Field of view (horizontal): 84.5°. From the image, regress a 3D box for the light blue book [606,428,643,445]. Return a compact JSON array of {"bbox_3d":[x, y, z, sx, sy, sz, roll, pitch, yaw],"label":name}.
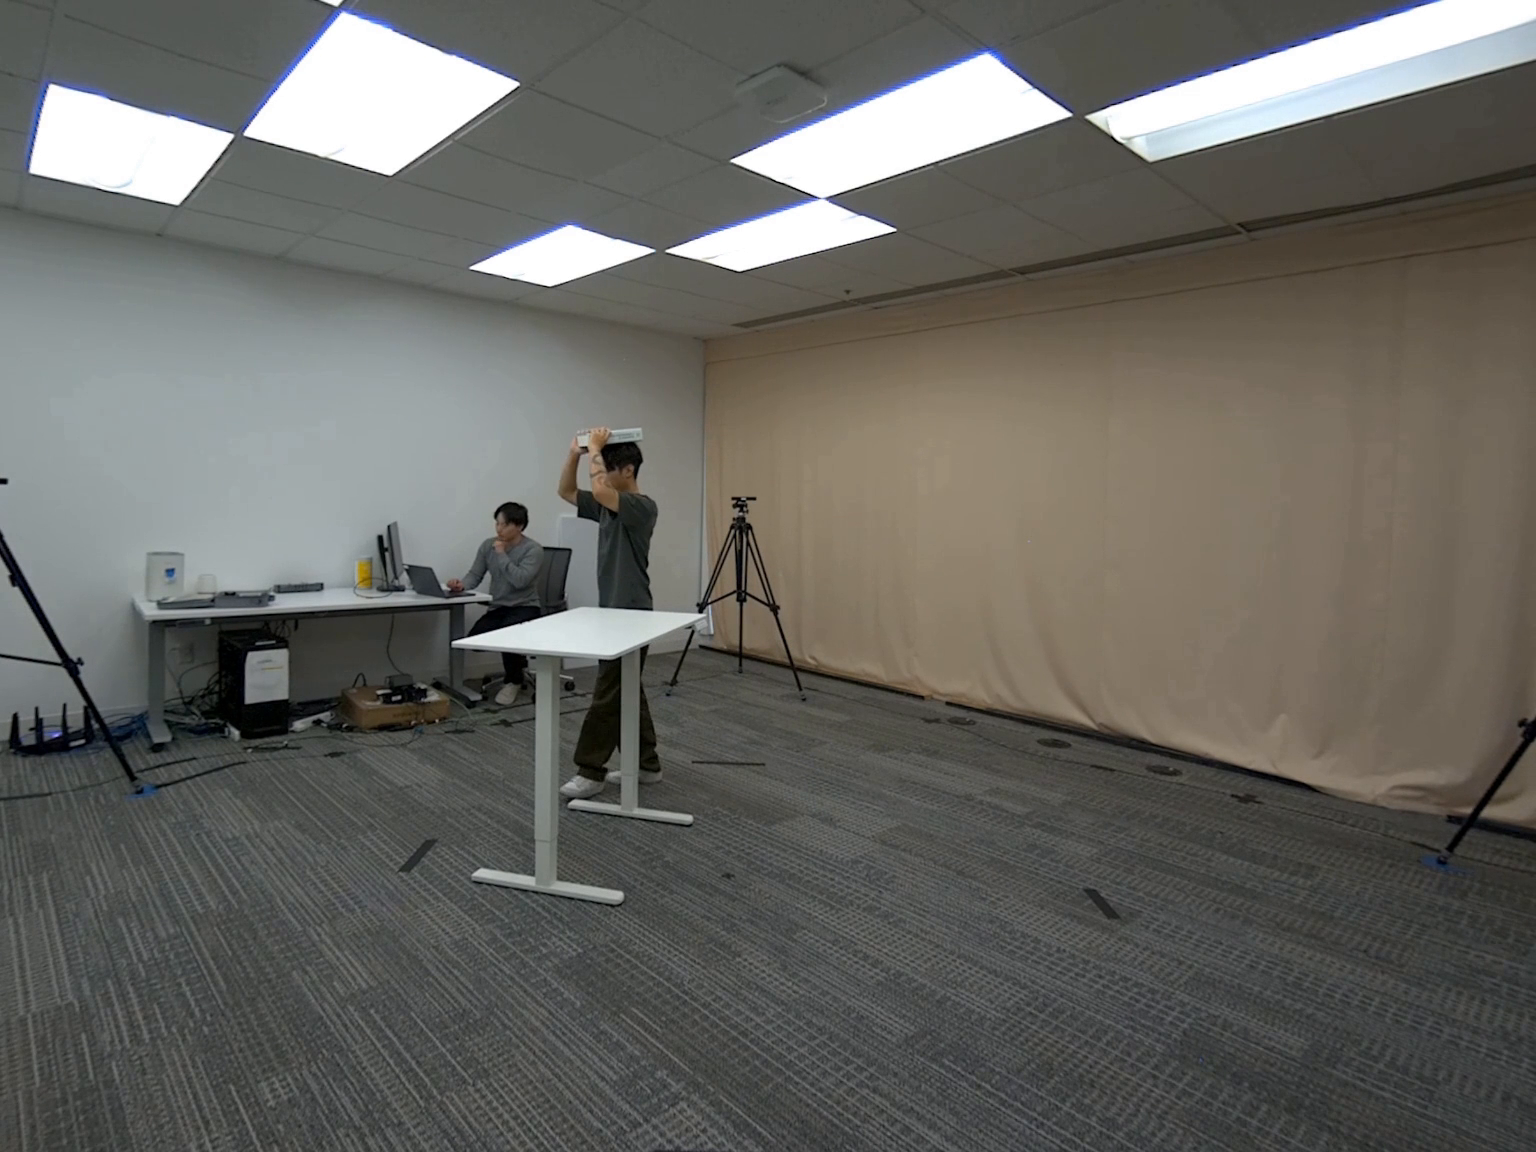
[{"bbox_3d":[-0.754,-0.653,3.944,0.257,0.058,0.195,-10,11,-24],"label":"light blue book"}]
